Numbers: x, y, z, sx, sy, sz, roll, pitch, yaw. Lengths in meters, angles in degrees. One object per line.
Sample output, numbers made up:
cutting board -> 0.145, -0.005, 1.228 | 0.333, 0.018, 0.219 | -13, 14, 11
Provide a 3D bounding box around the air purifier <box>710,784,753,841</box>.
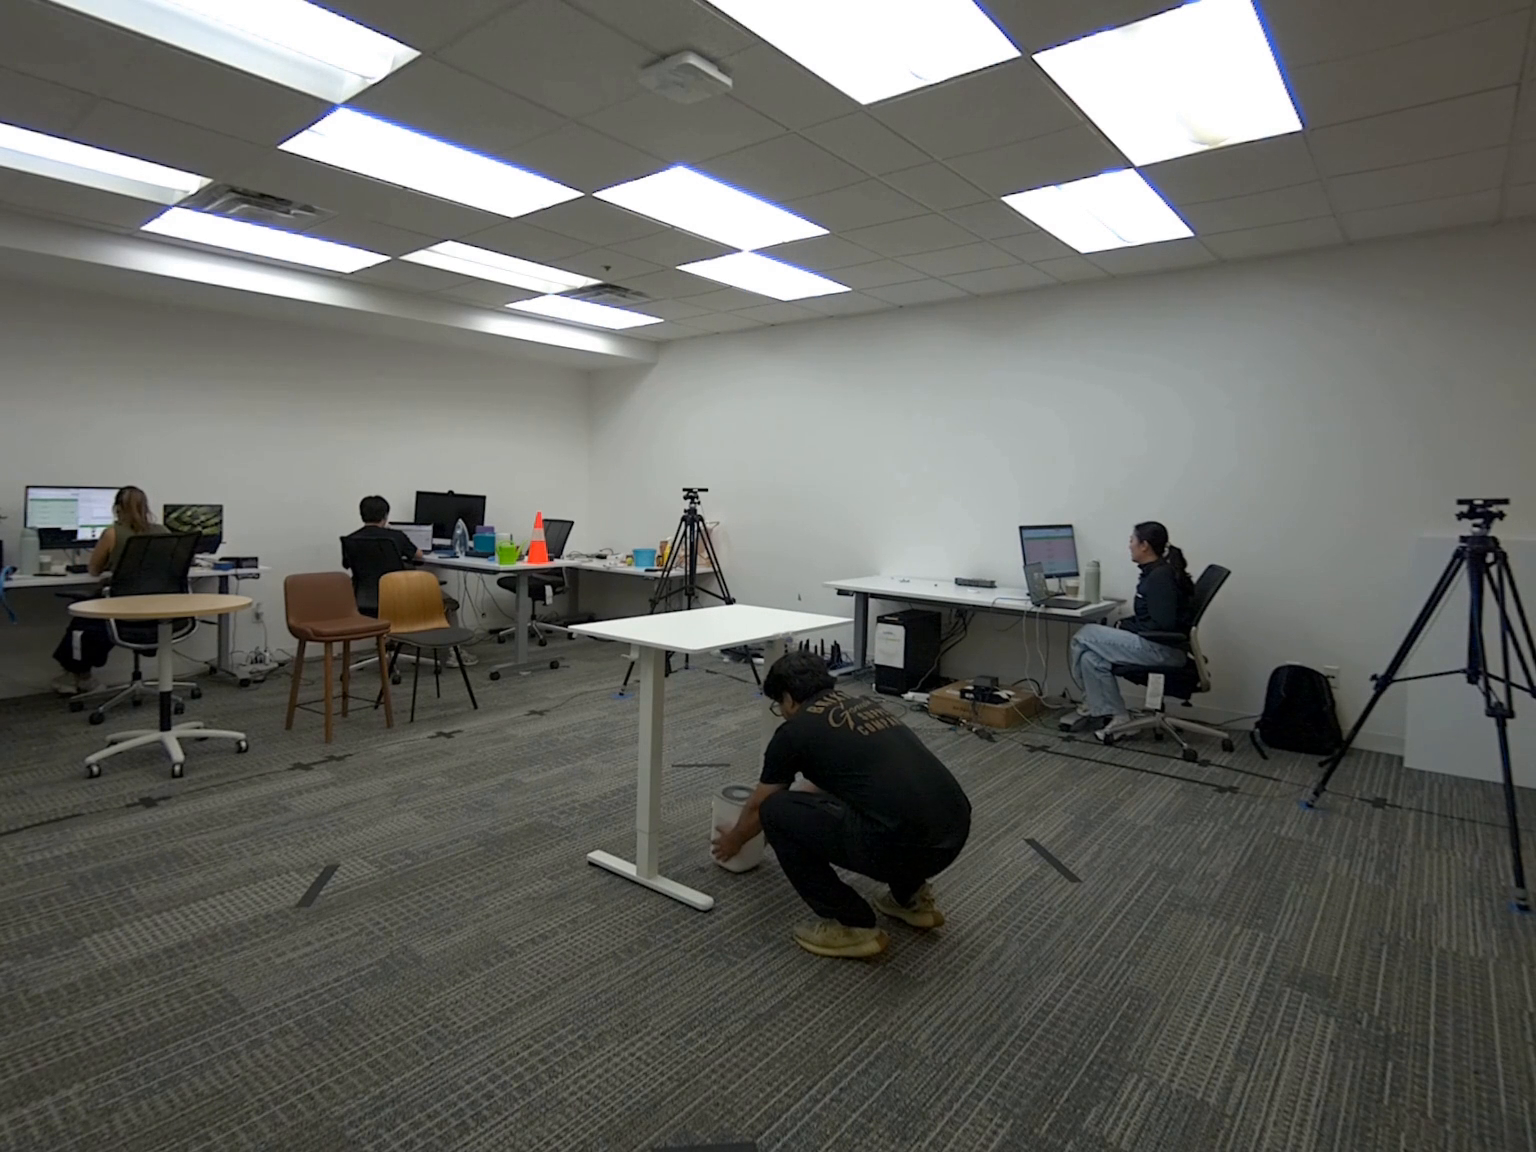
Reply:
air purifier -> -0.116, 0.924, 3.139 | 0.178, 0.264, 0.166 | 9, 8, 40
